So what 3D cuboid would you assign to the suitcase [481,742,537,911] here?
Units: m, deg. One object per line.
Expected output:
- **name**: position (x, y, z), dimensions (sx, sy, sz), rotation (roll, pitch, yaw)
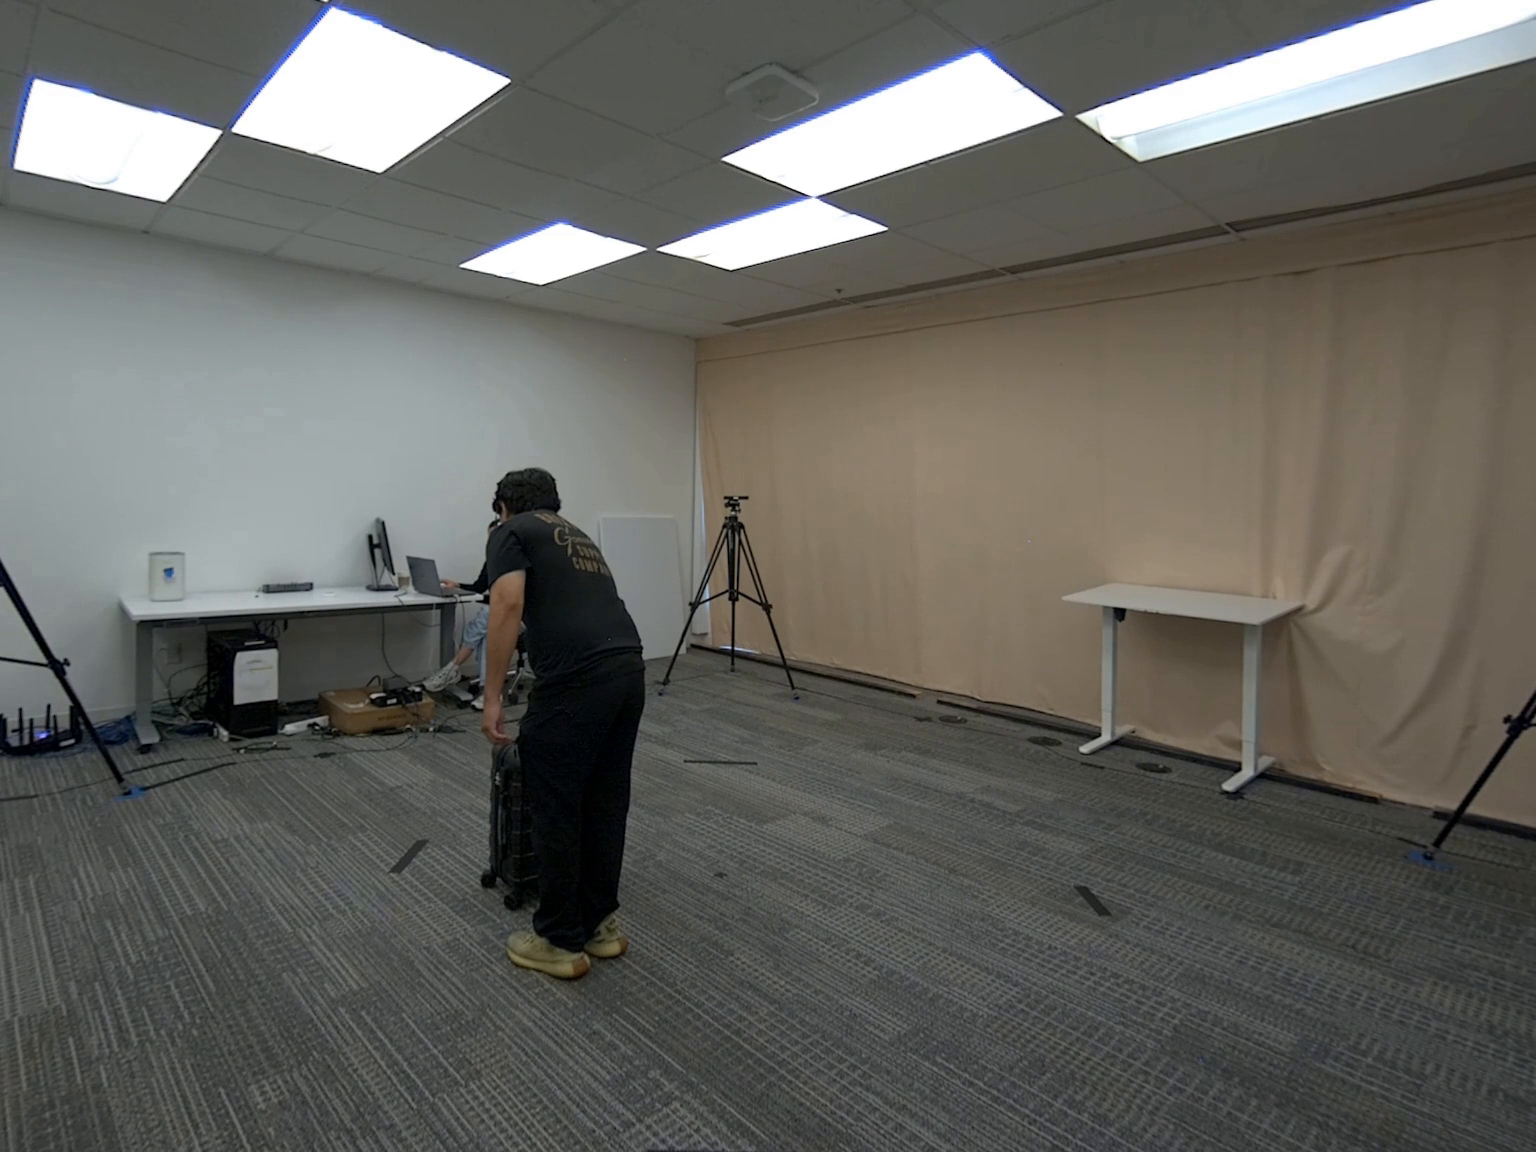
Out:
- **suitcase**: position (-0.793, 0.830, 2.969), dimensions (0.367, 0.548, 0.254), rotation (-1, 4, -38)
